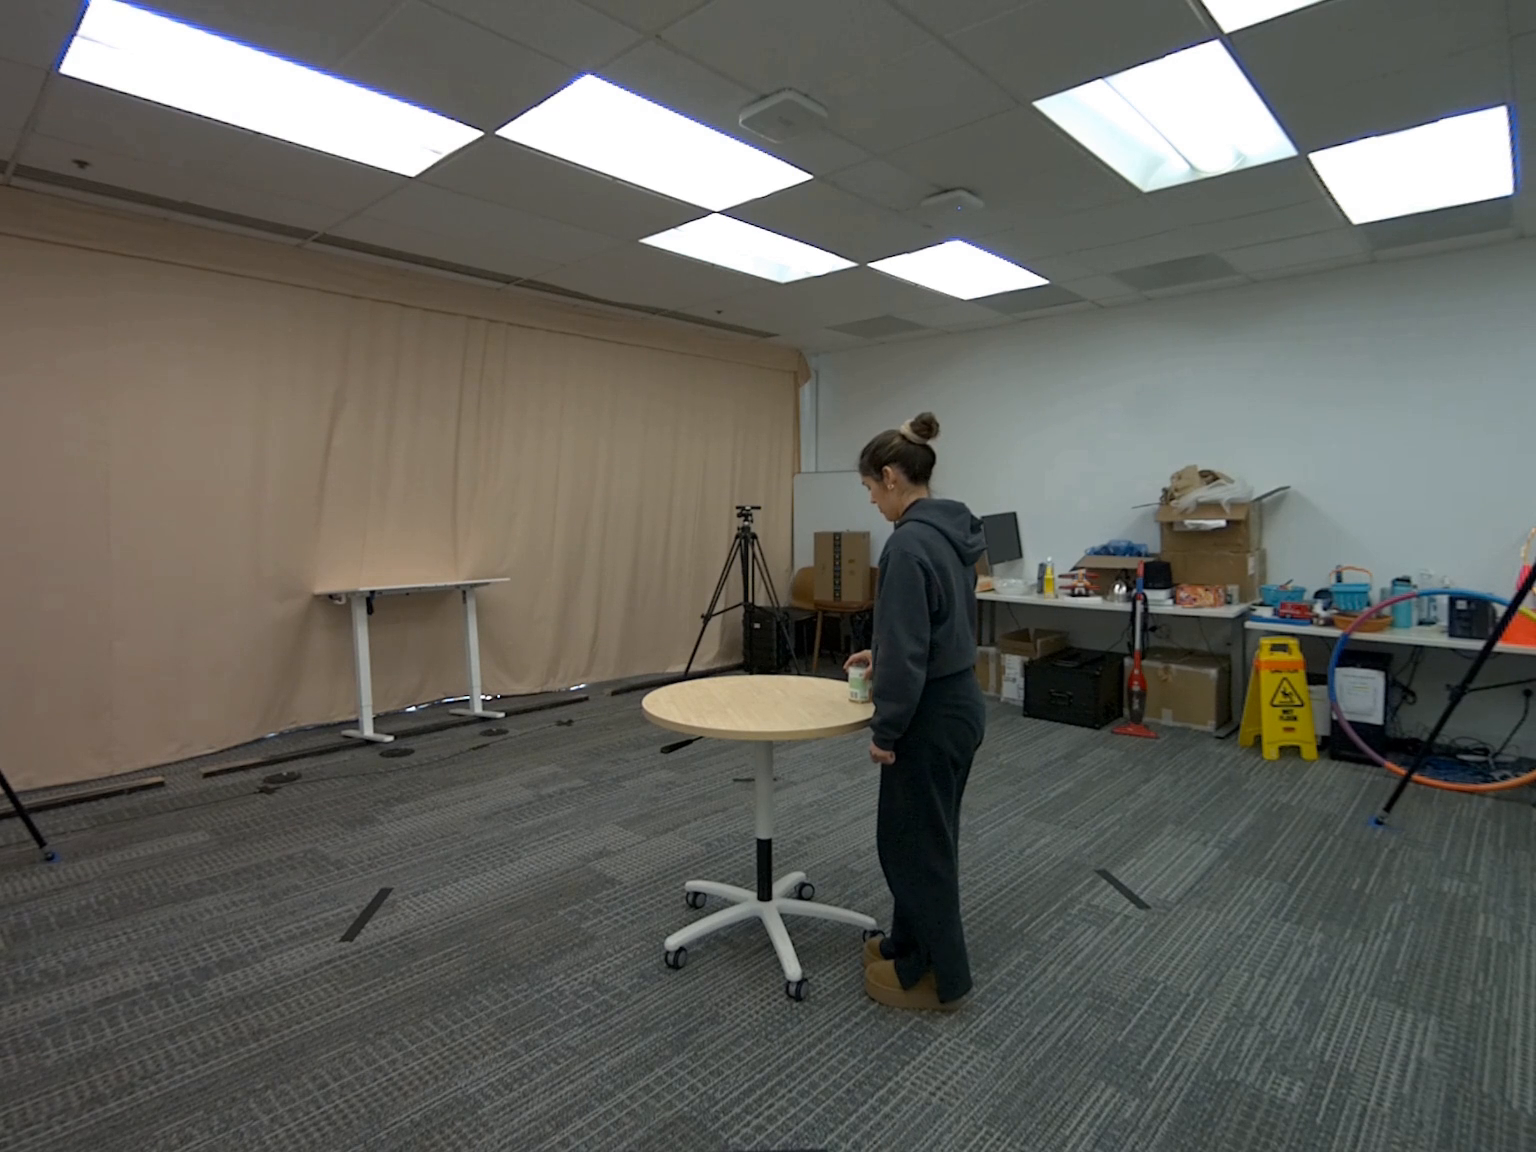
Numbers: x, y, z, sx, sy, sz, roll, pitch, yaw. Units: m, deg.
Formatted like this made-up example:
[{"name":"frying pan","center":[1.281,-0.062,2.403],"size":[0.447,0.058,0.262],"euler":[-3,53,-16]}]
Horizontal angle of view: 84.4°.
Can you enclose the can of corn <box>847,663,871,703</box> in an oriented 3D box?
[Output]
[{"name":"can of corn","center":[0.298,0.329,2.606],"size":[0.074,0.111,0.074],"euler":[3,1,-2]}]
